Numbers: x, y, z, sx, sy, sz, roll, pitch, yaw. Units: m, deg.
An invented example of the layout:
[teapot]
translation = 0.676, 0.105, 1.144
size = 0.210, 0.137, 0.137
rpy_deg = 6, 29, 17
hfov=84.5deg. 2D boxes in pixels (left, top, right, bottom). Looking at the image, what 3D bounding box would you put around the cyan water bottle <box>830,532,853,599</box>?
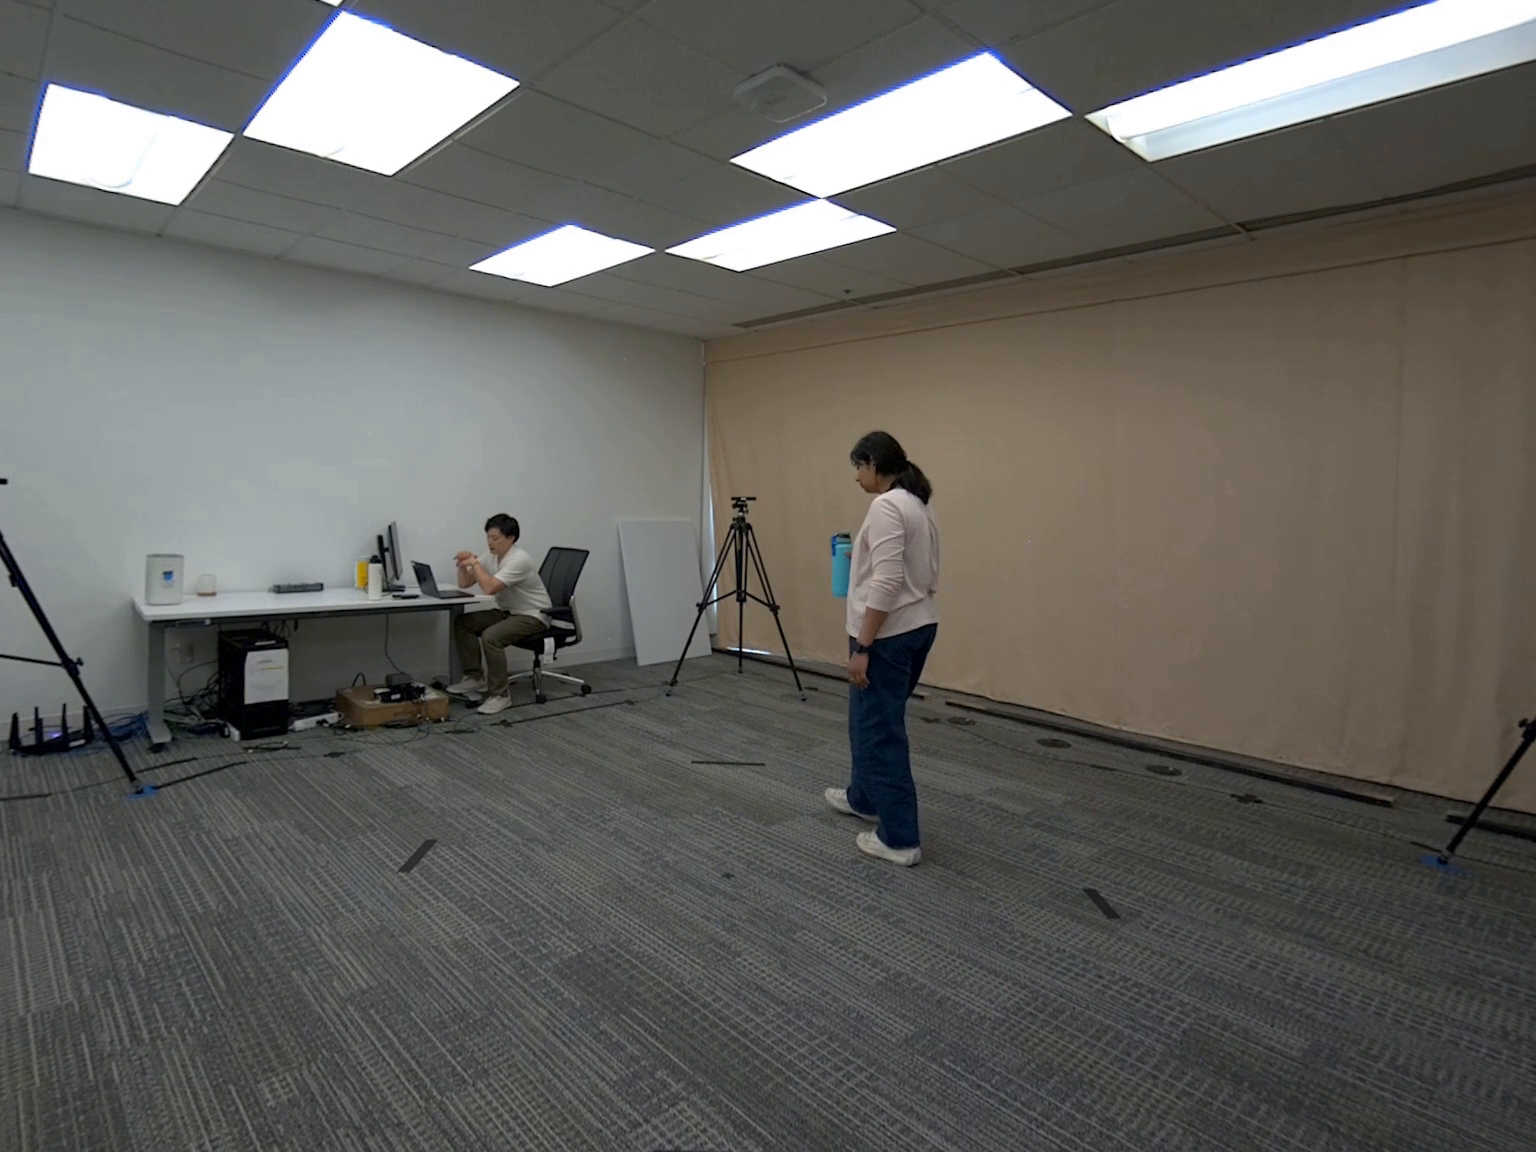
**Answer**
[cyan water bottle]
translation = 0.319, -0.056, 3.657
size = 0.092, 0.283, 0.092
rpy_deg = -2, 3, -1
